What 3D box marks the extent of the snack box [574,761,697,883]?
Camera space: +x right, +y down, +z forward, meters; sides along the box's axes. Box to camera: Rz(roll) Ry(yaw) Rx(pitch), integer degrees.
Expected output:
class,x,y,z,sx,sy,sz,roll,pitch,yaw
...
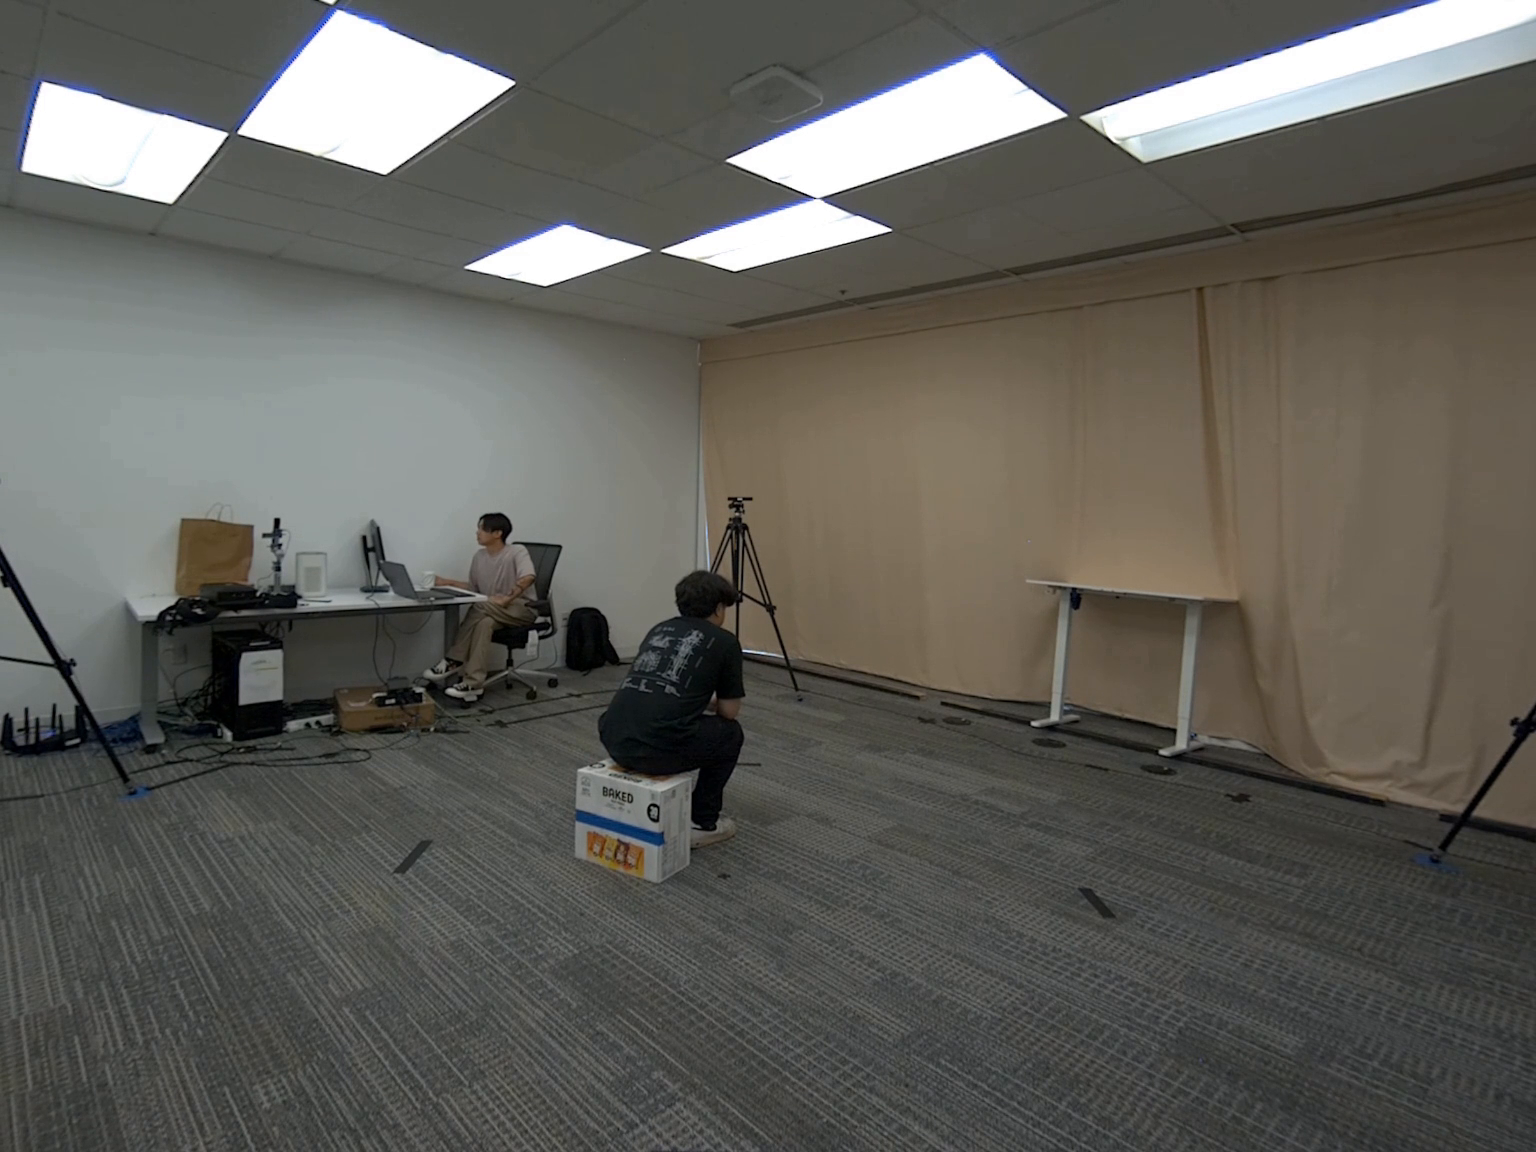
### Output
class,x,y,z,sx,sy,sz,roll,pitch,yaw
snack box,-0.523,0.922,3.210,0.414,0.339,0.202,5,5,31
